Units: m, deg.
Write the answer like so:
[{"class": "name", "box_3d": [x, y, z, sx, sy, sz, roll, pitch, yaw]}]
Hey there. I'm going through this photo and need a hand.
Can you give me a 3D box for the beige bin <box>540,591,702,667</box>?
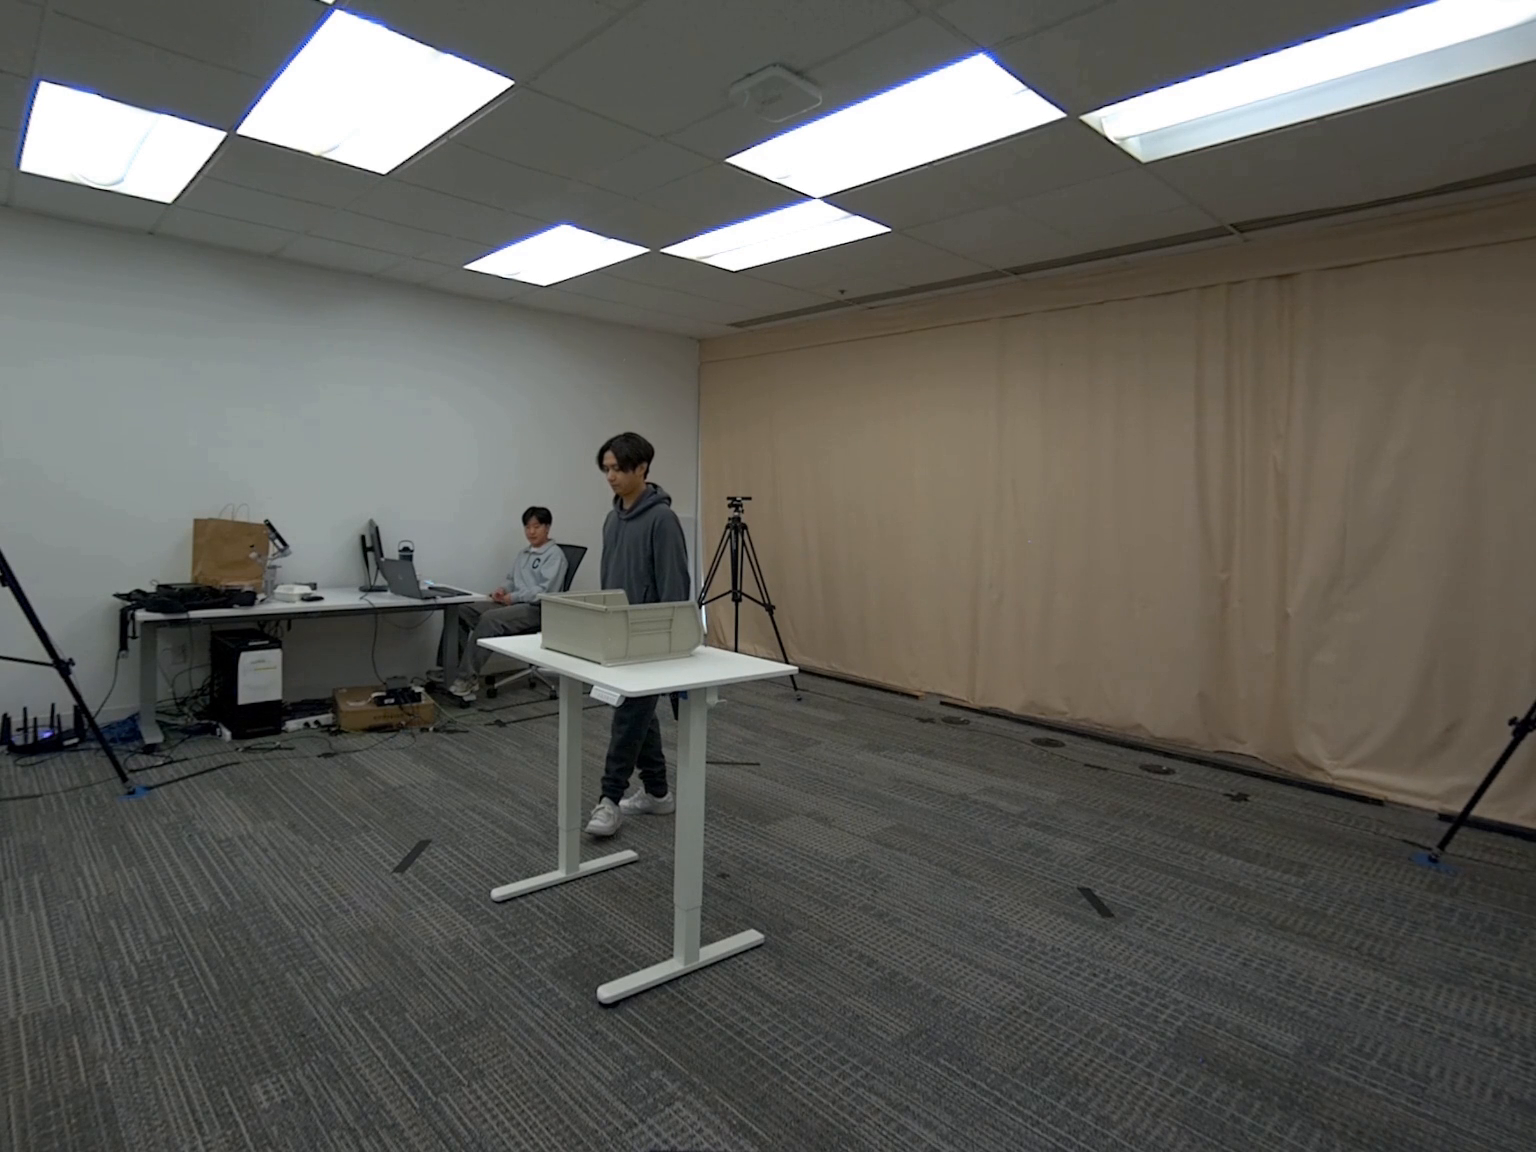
[{"class": "beige bin", "box_3d": [-0.492, 0.161, 2.731, 0.369, 0.188, 0.433, -4, 6, -42]}]
